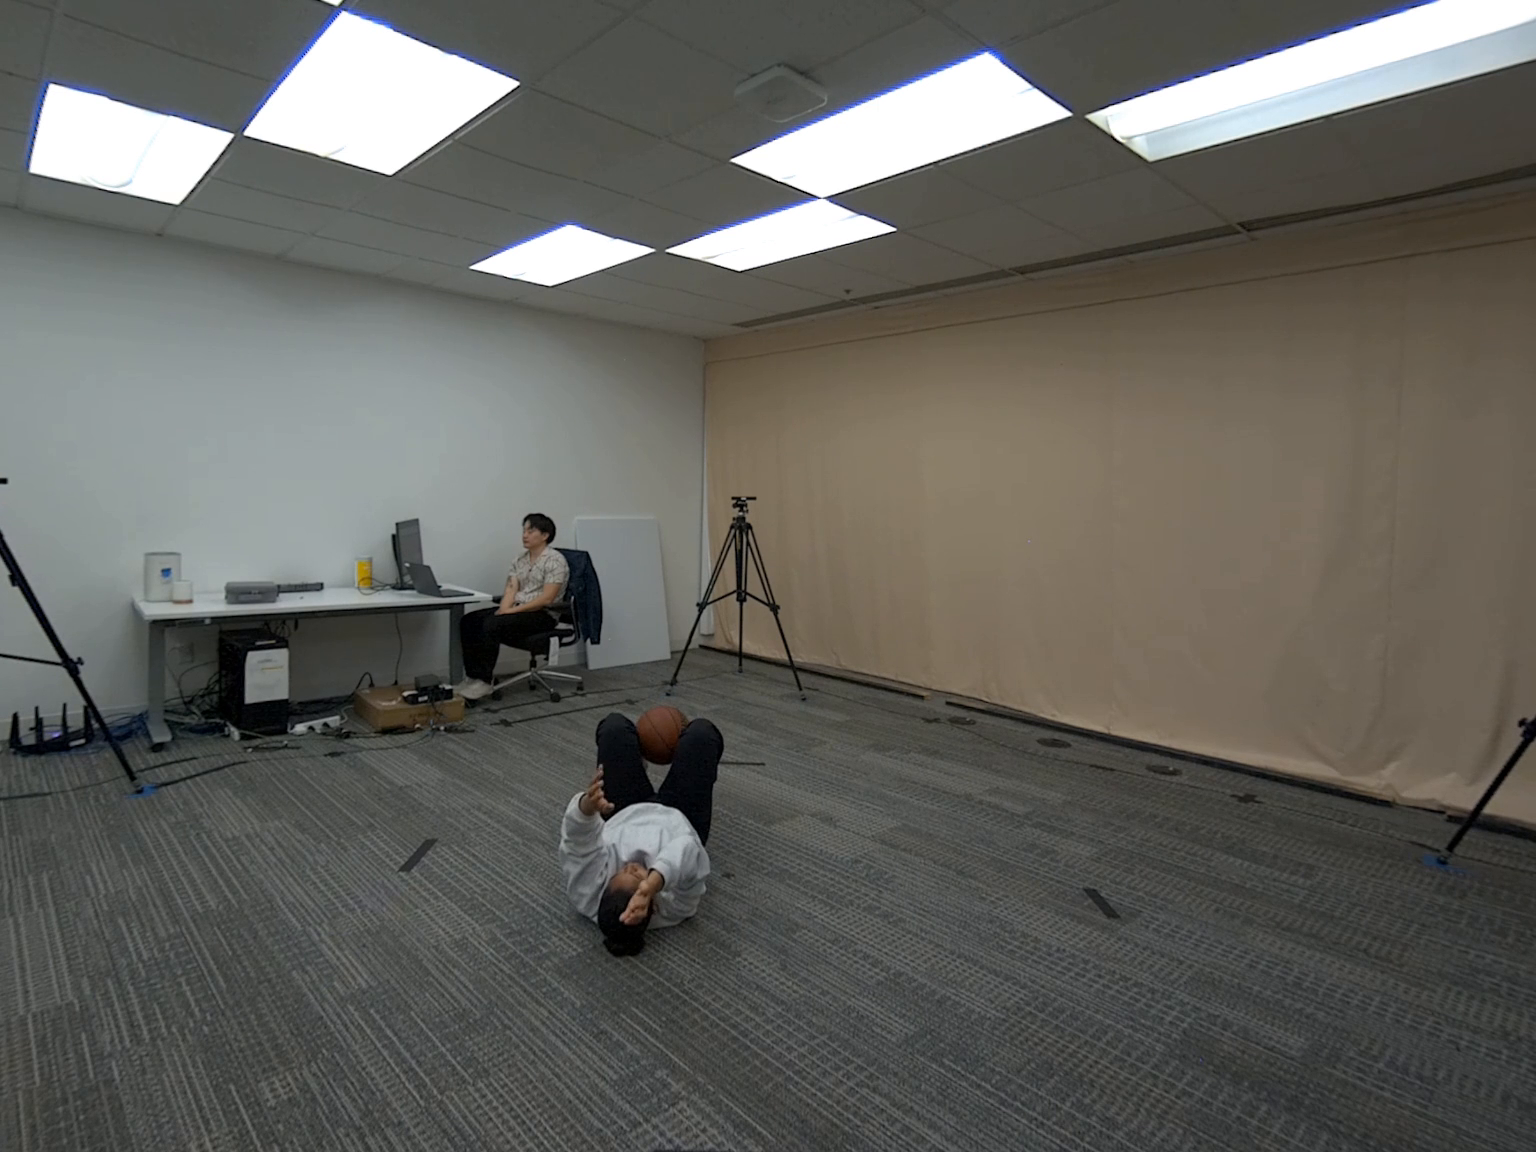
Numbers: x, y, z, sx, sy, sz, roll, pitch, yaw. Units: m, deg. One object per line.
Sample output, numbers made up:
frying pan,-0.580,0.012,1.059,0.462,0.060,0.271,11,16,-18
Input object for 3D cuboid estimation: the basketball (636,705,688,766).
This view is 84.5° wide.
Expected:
basketball,-0.446,0.650,3.458,0.236,0.235,0.237,1,4,-1
